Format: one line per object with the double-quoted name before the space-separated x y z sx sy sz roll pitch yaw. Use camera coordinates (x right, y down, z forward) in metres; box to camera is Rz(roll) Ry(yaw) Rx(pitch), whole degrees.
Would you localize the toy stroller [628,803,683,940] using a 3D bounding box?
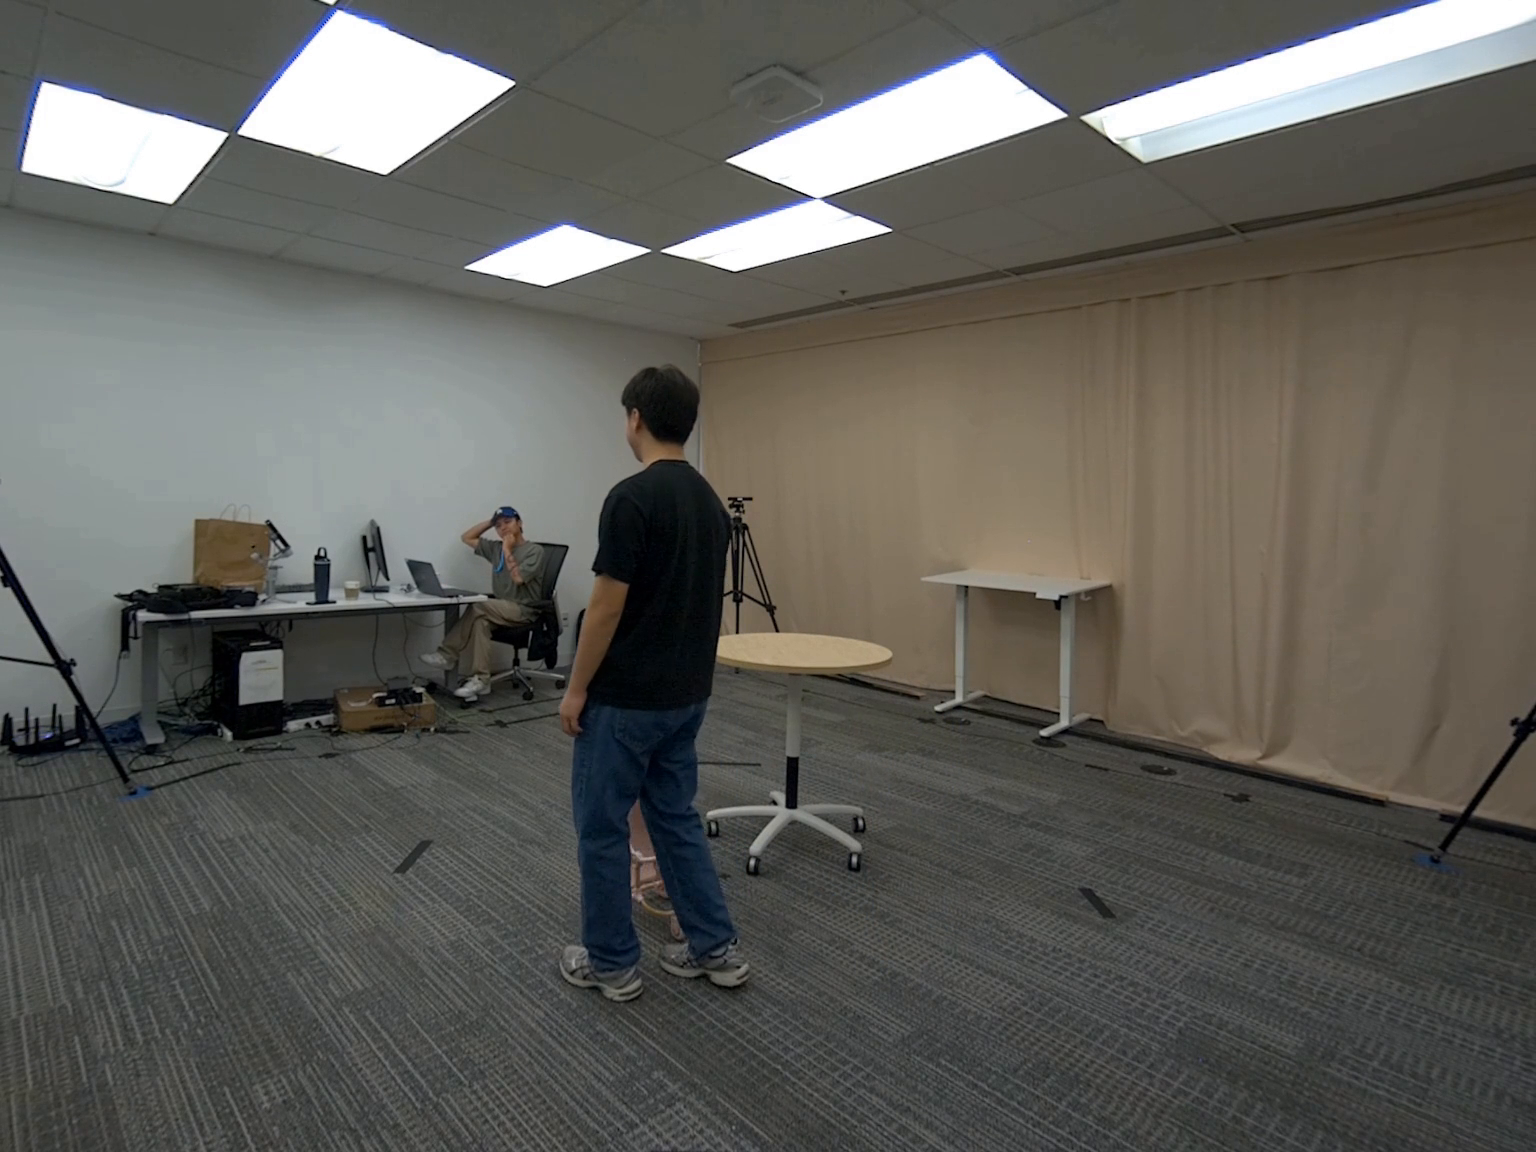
"toy stroller" -0.410 0.910 2.784 0.275 0.539 0.346 -1 -12 -37
